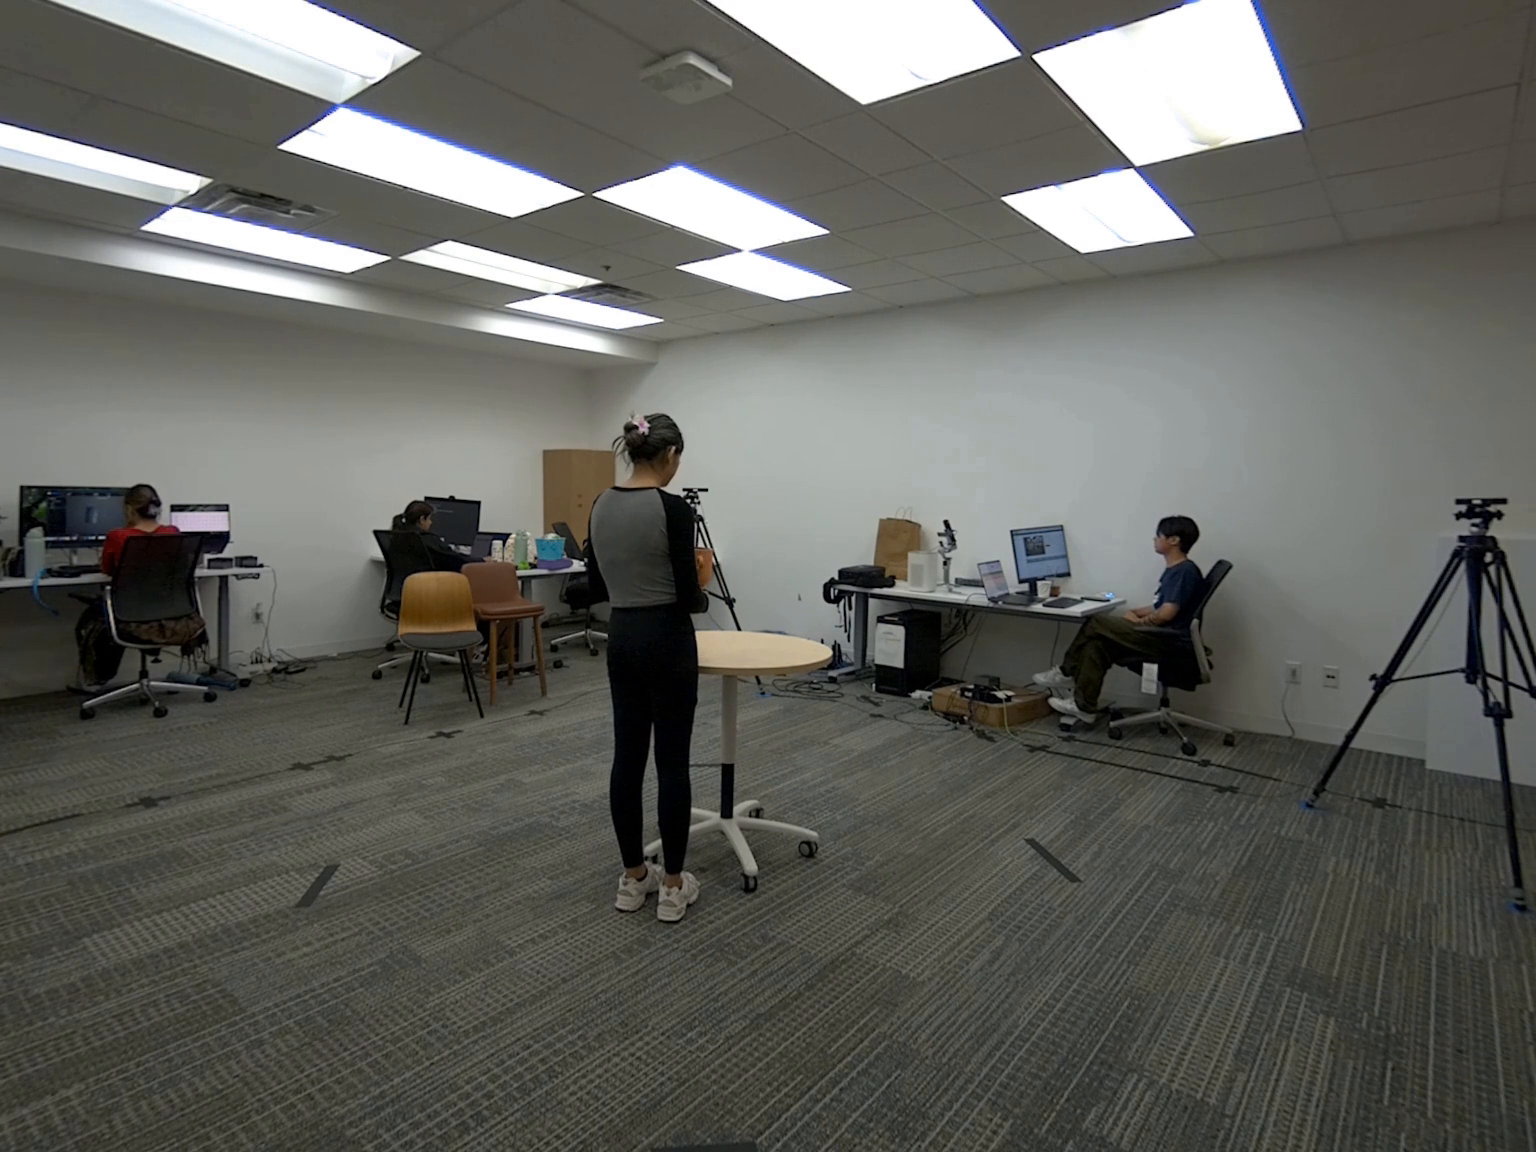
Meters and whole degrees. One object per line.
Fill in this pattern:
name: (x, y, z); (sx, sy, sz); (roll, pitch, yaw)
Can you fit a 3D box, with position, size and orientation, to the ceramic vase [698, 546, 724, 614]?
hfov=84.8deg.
ceramic vase: (-0.262, 0.008, 3.038); (0.138, 0.219, 0.156); (6, 4, 19)
